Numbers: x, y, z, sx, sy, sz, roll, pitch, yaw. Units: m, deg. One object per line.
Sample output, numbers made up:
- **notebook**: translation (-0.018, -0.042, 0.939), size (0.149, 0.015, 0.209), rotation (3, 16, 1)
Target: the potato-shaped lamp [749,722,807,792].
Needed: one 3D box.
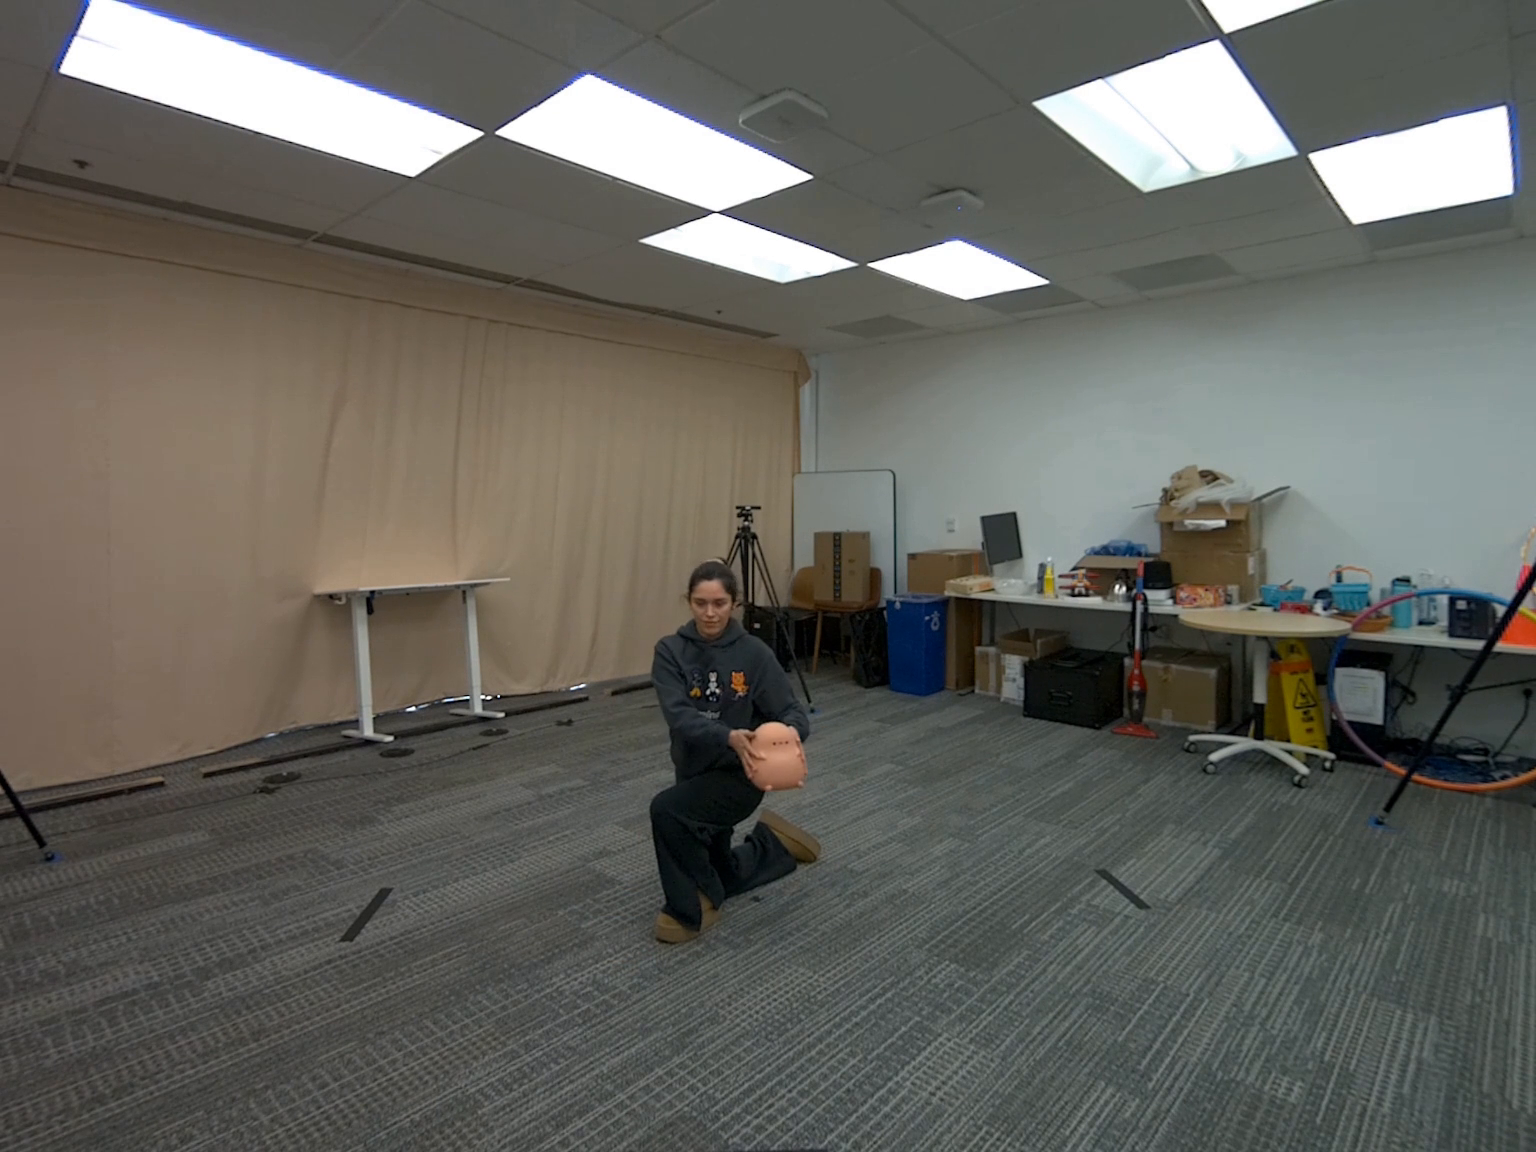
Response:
- **potato-shaped lamp**: translation (0.031, 0.546, 2.580), size (0.162, 0.199, 0.173), rotation (-6, -5, -14)
